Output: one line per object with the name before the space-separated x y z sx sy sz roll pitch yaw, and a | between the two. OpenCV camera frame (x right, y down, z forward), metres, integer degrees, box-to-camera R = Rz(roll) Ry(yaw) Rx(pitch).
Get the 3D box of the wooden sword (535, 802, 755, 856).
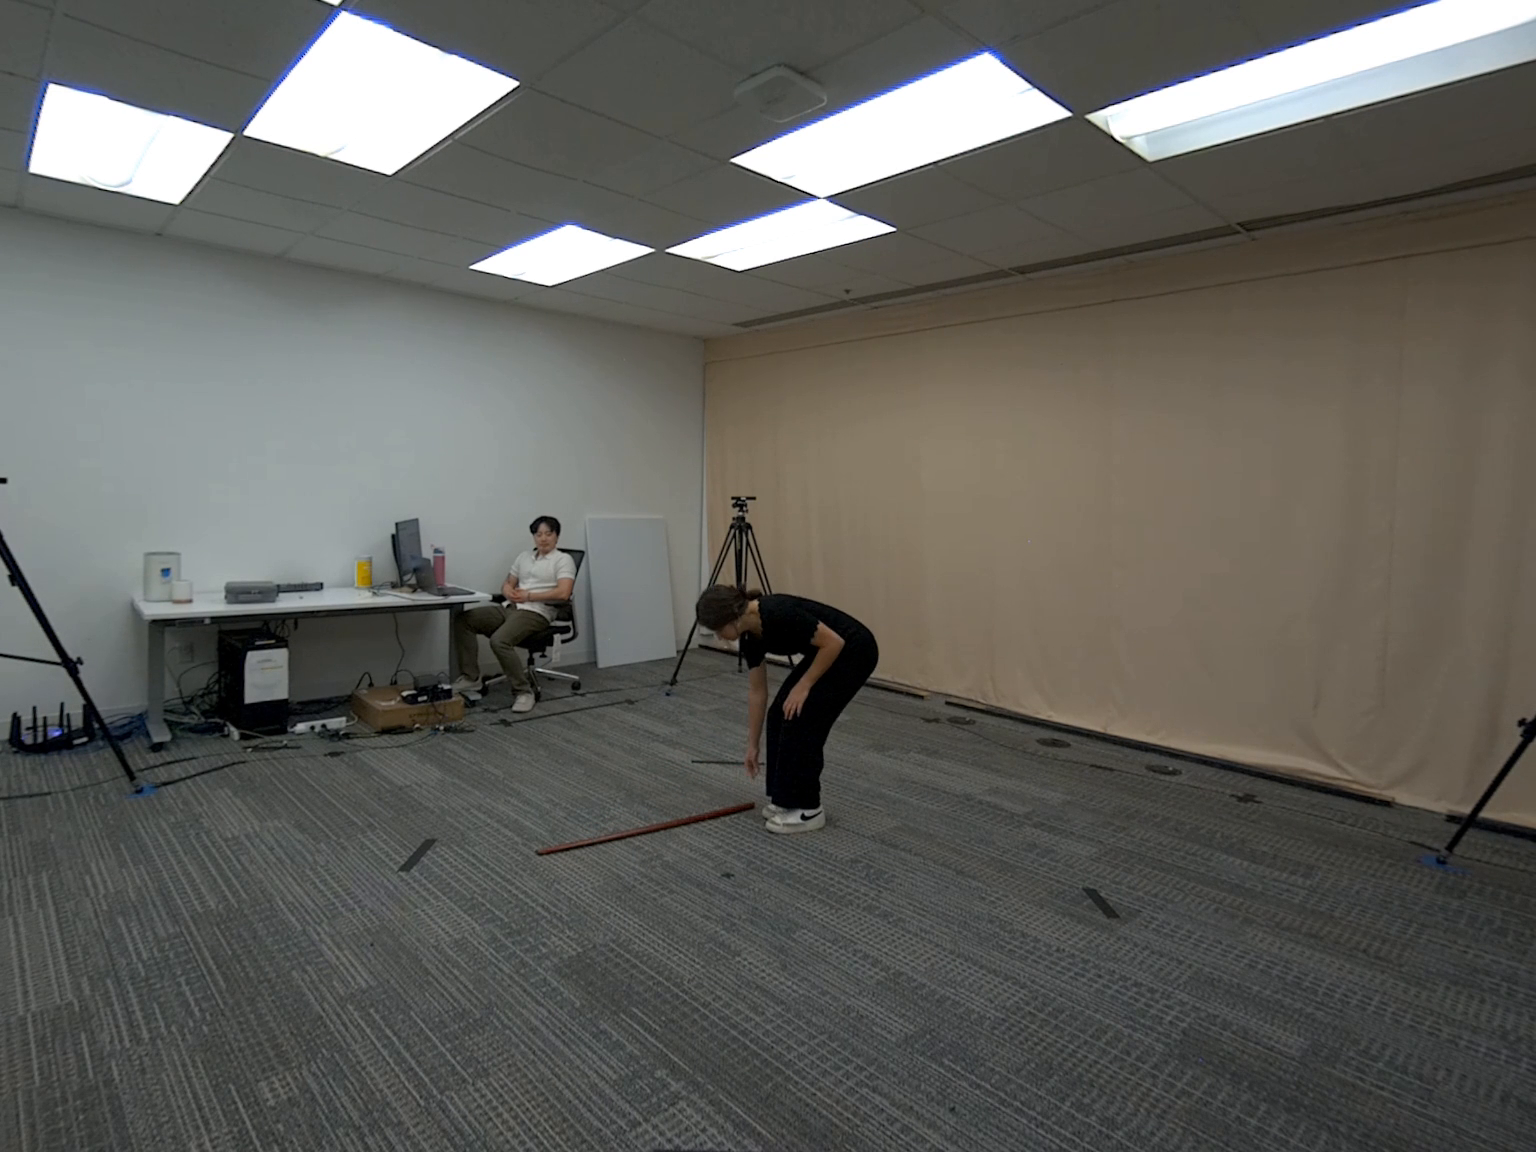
wooden sword | -0.471 1.044 3.508 1.003 0.024 0.053 -2 18 -34
